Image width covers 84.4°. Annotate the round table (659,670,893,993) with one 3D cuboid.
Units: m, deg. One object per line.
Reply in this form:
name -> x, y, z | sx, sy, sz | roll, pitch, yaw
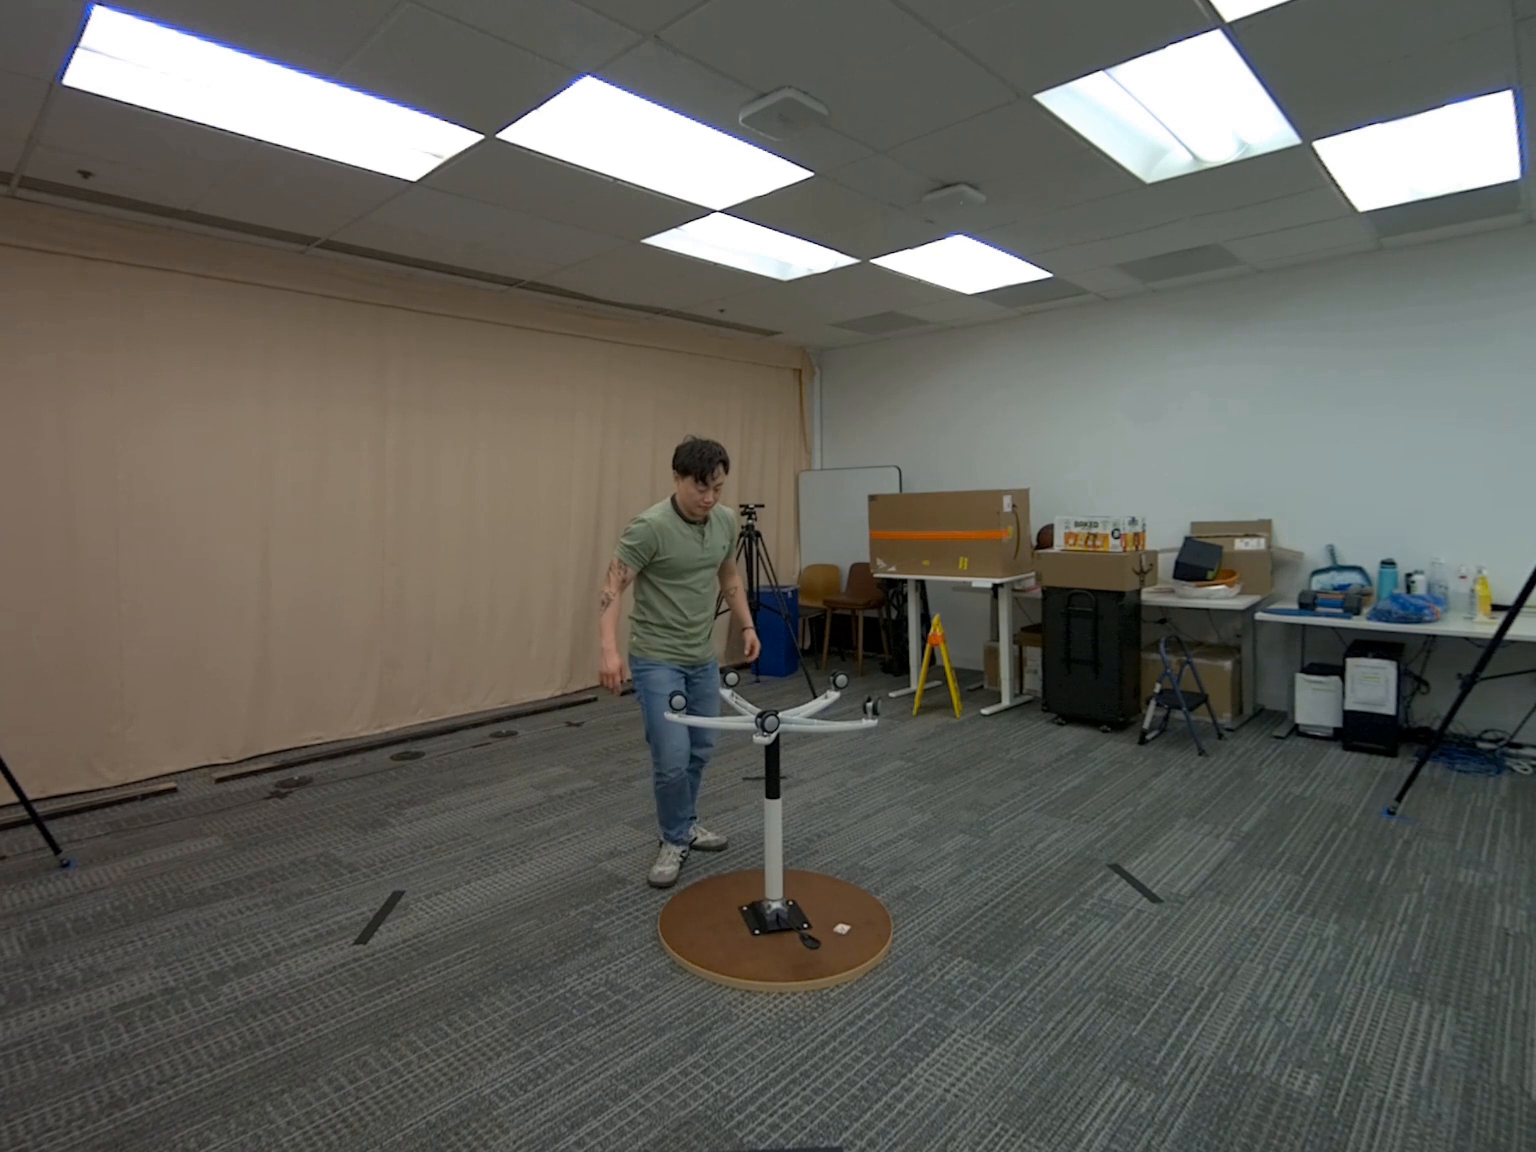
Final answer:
round table -> 0.021, 0.766, 2.754 | 0.763, 0.792, 0.766 | -1, 3, -2
